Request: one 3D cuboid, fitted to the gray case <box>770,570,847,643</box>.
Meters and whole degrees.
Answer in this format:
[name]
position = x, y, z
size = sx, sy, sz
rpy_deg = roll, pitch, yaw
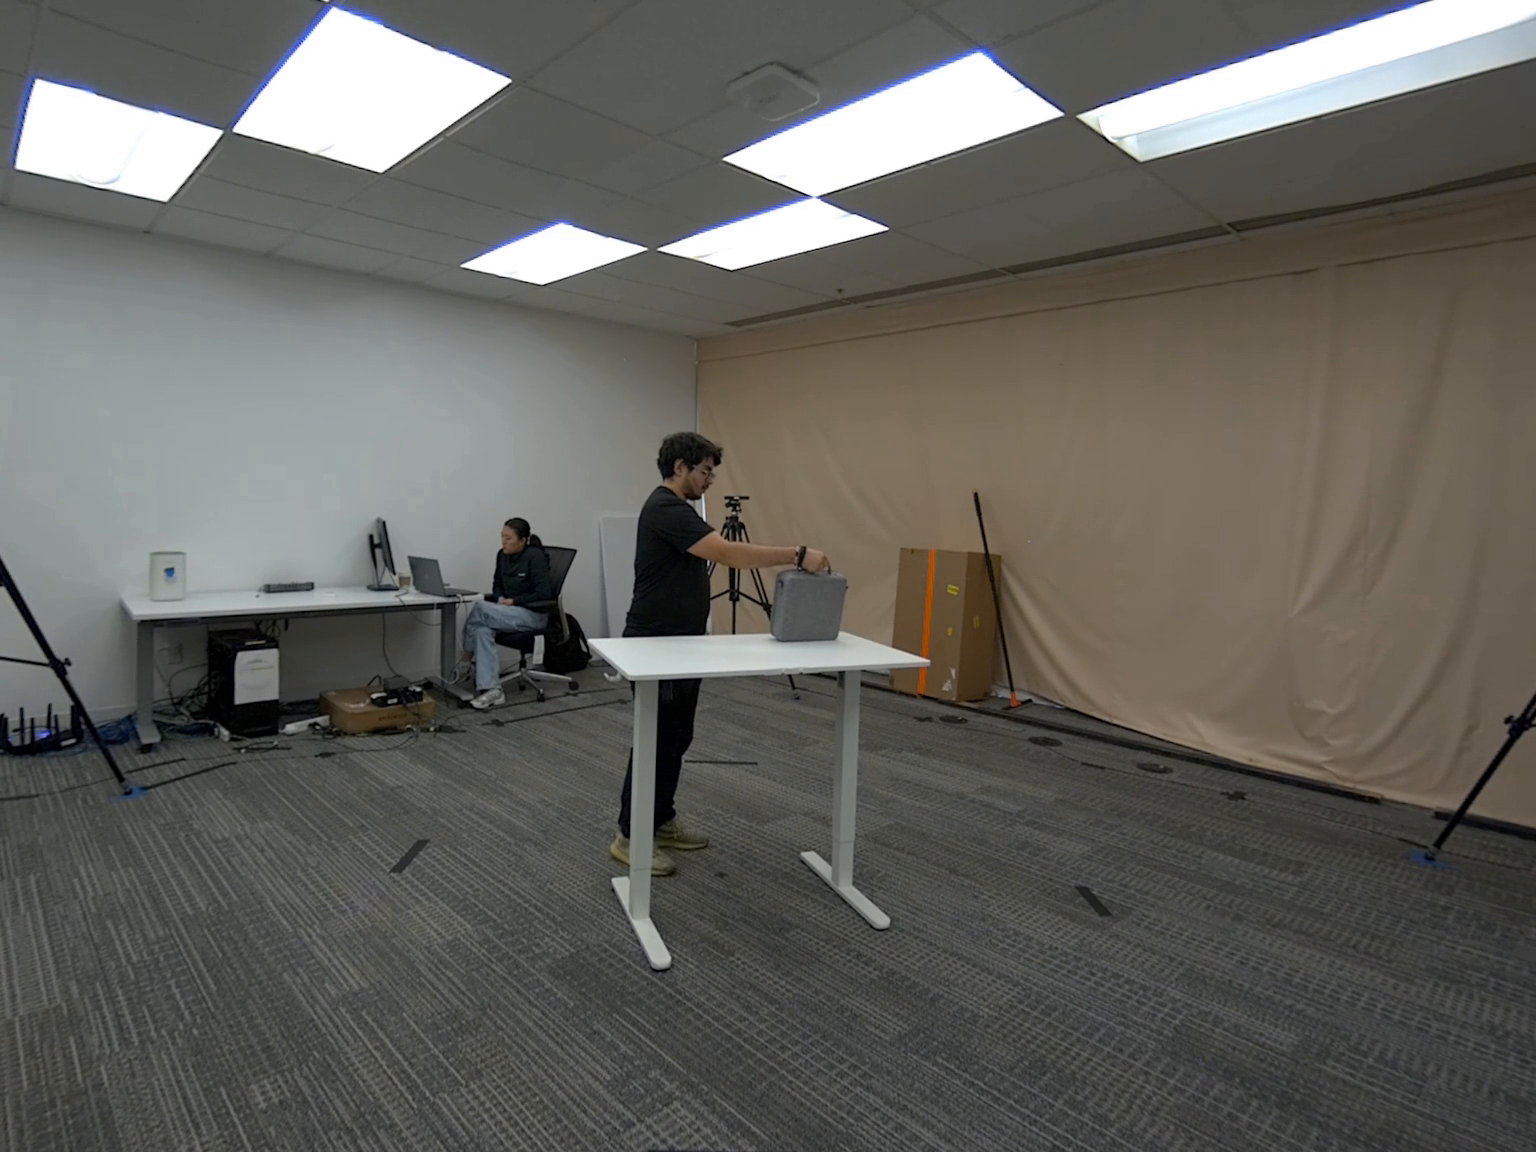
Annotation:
[gray case]
position = 0.140, 0.101, 3.035
size = 0.253, 0.258, 0.106
rpy_deg = 0, 12, -19
